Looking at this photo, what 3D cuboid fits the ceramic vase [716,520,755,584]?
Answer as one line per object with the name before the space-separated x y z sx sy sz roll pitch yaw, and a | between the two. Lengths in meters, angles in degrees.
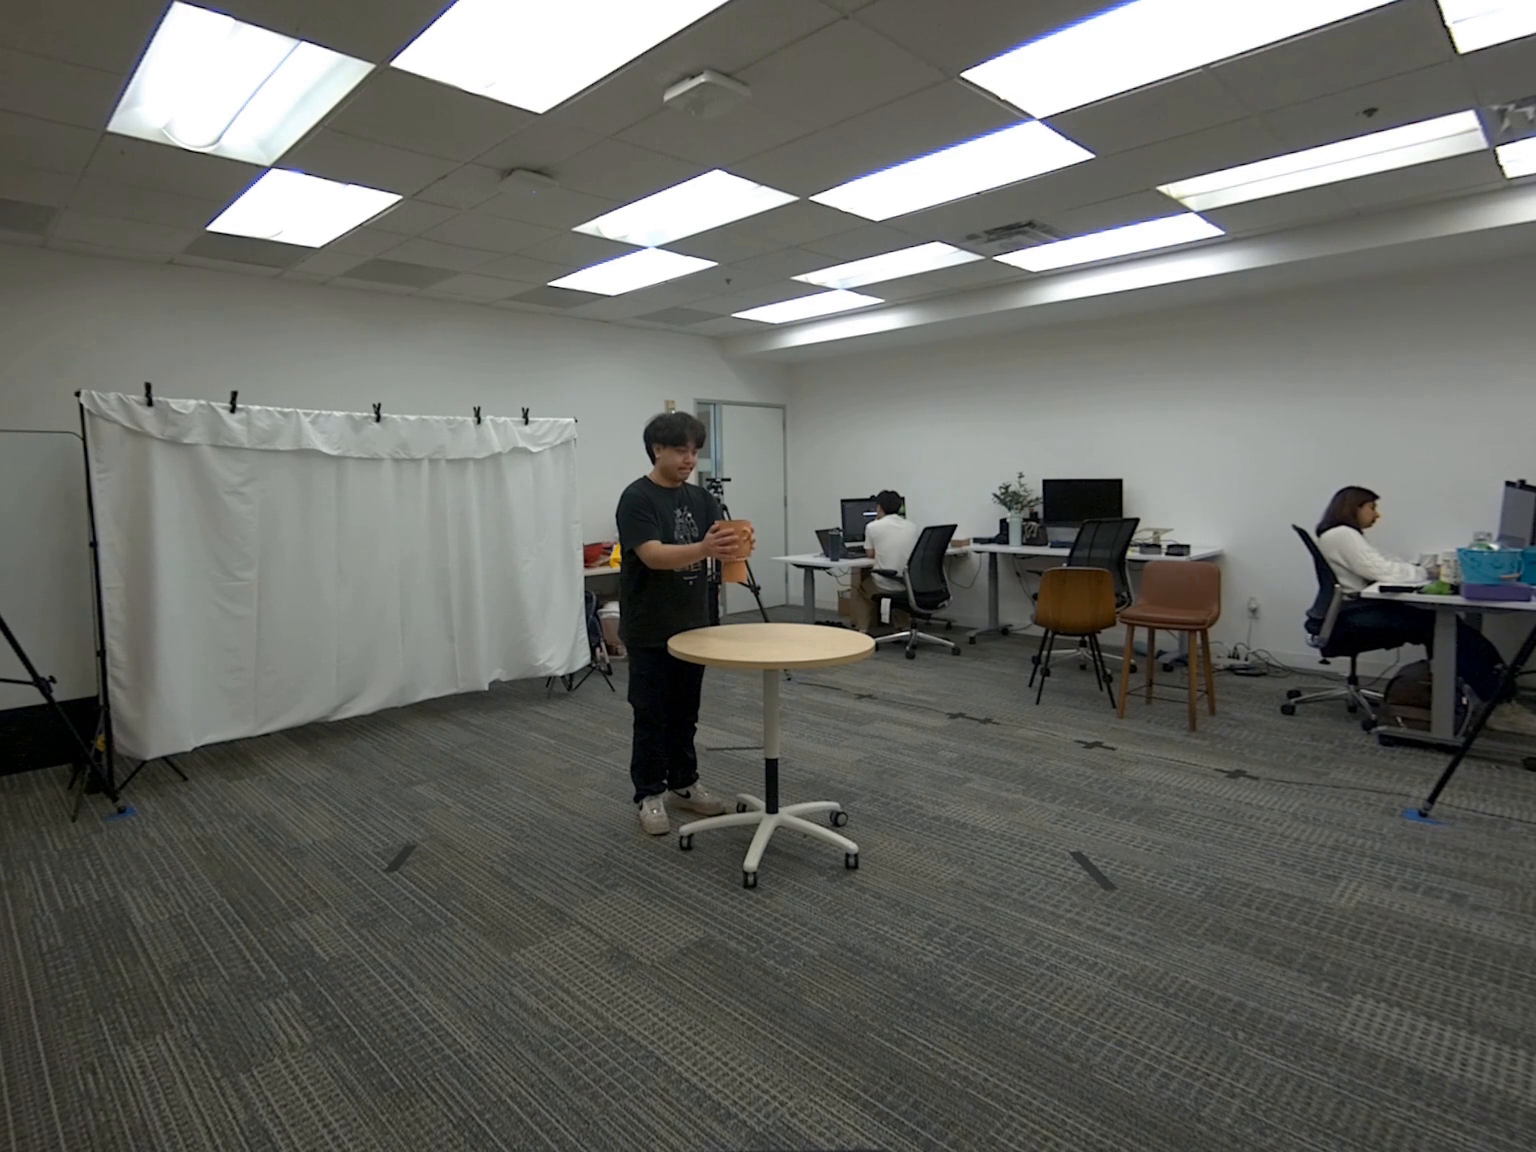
ceramic vase | -0.132 -0.088 3.136 0.134 0.219 0.160 -1 6 -6
